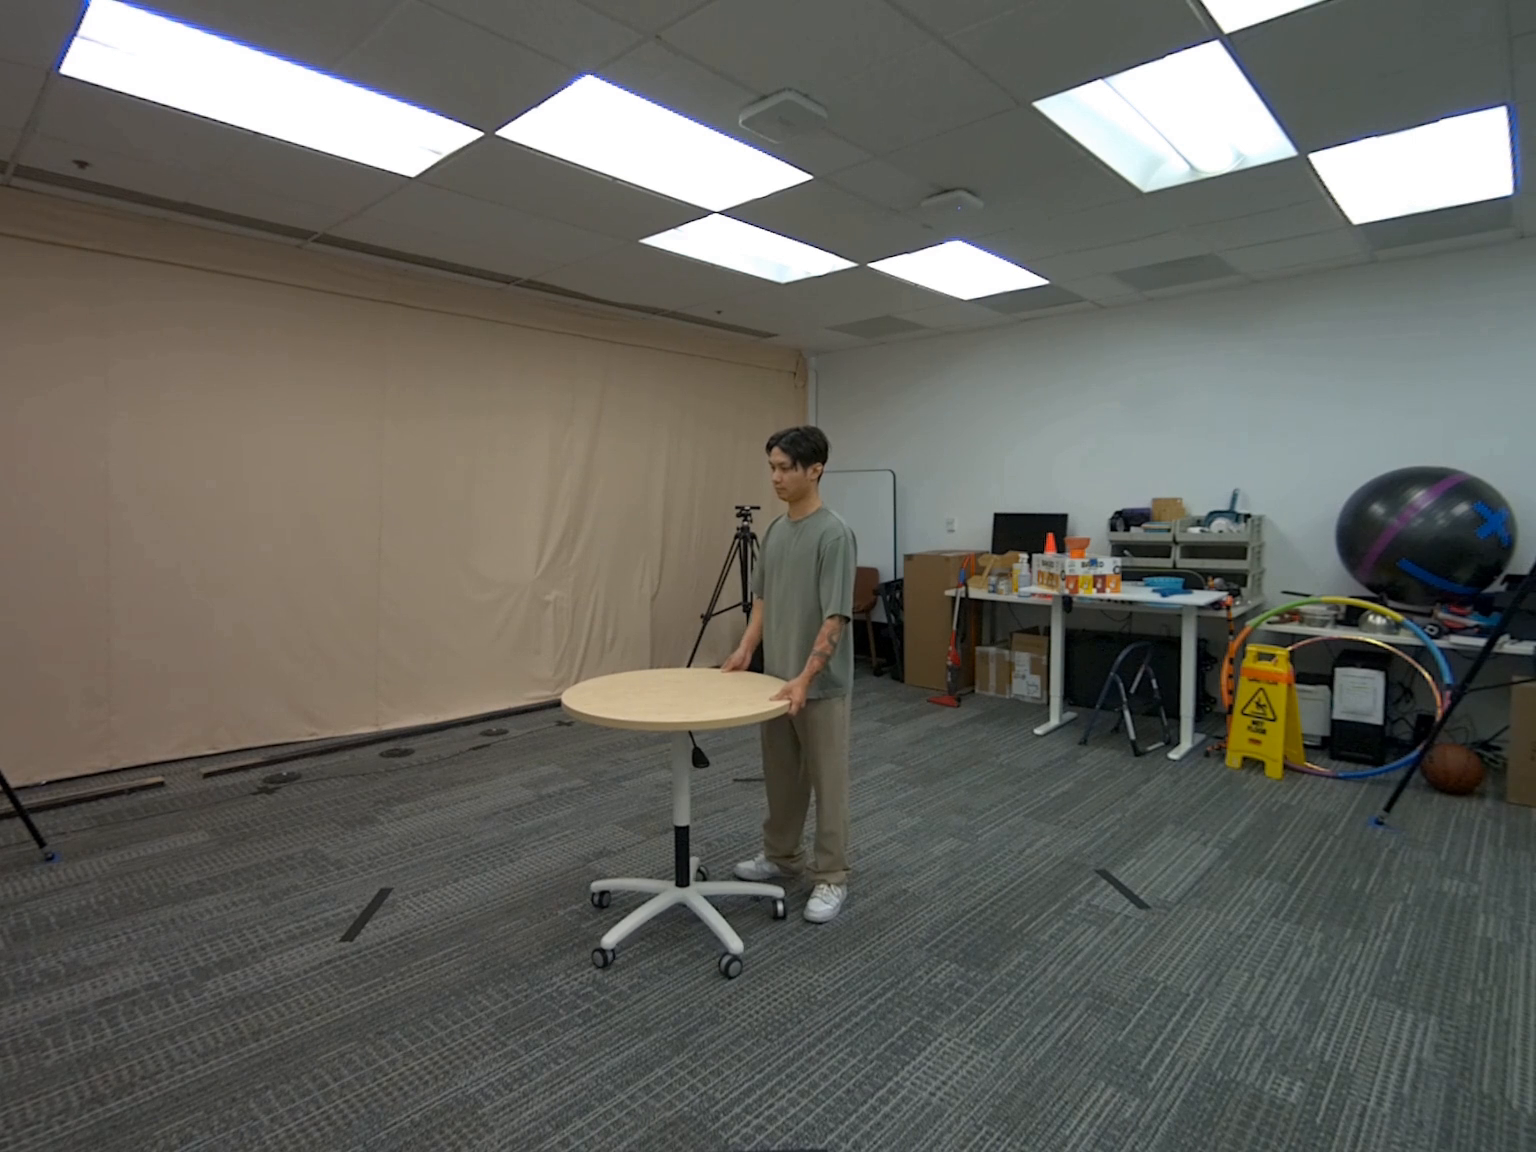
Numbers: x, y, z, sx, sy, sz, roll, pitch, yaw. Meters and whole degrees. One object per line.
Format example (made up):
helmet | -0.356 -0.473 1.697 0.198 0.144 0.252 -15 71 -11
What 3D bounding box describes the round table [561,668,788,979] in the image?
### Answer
round table | -0.279 0.767 2.780 0.784 0.784 0.788 -1 4 -2
